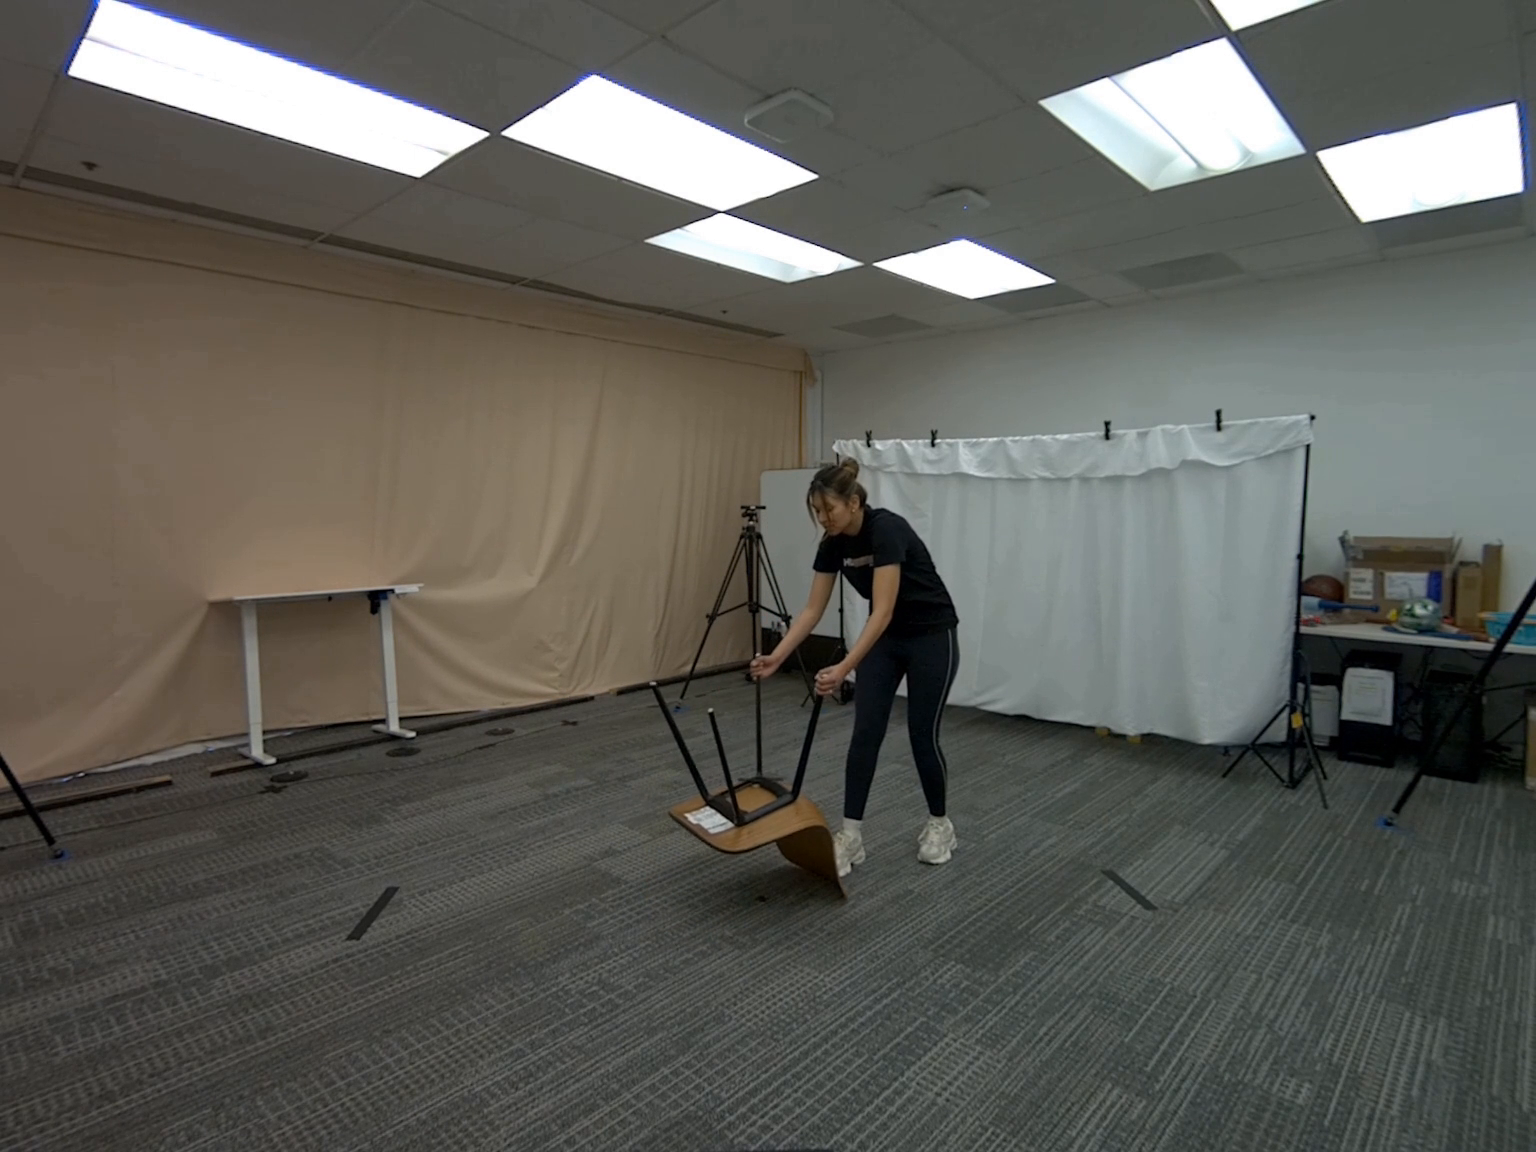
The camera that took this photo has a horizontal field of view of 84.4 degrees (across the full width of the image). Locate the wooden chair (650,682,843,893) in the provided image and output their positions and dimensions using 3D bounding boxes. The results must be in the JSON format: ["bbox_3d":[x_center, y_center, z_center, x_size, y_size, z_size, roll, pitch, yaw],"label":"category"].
[{"bbox_3d":[-0.061,0.784,2.947,0.512,0.870,0.492,-16,11,-29],"label":"wooden chair"}]
